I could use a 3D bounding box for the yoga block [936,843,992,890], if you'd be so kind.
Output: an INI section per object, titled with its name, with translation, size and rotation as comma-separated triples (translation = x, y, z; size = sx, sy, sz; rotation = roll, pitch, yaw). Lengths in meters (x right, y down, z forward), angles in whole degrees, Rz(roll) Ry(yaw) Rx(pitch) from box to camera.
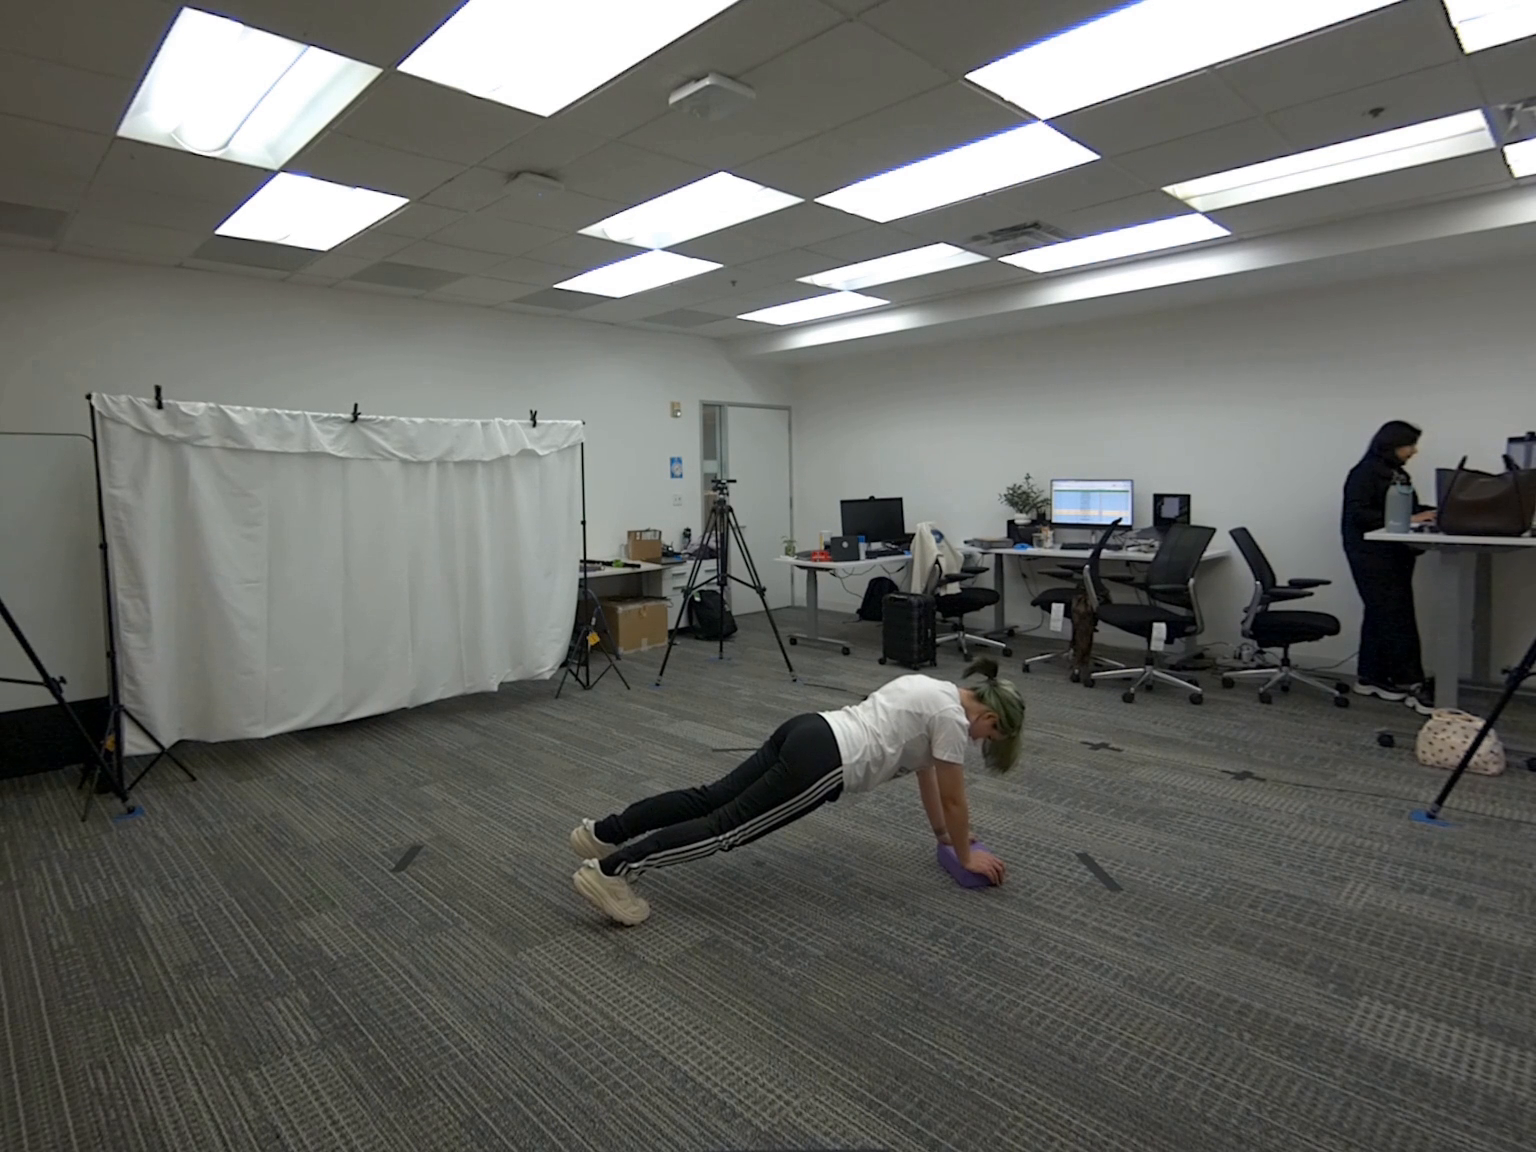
[yoga block]
translation = 0.704, 1.006, 3.005
size = 0.148, 0.076, 0.232
rotation = -2, 4, -9
